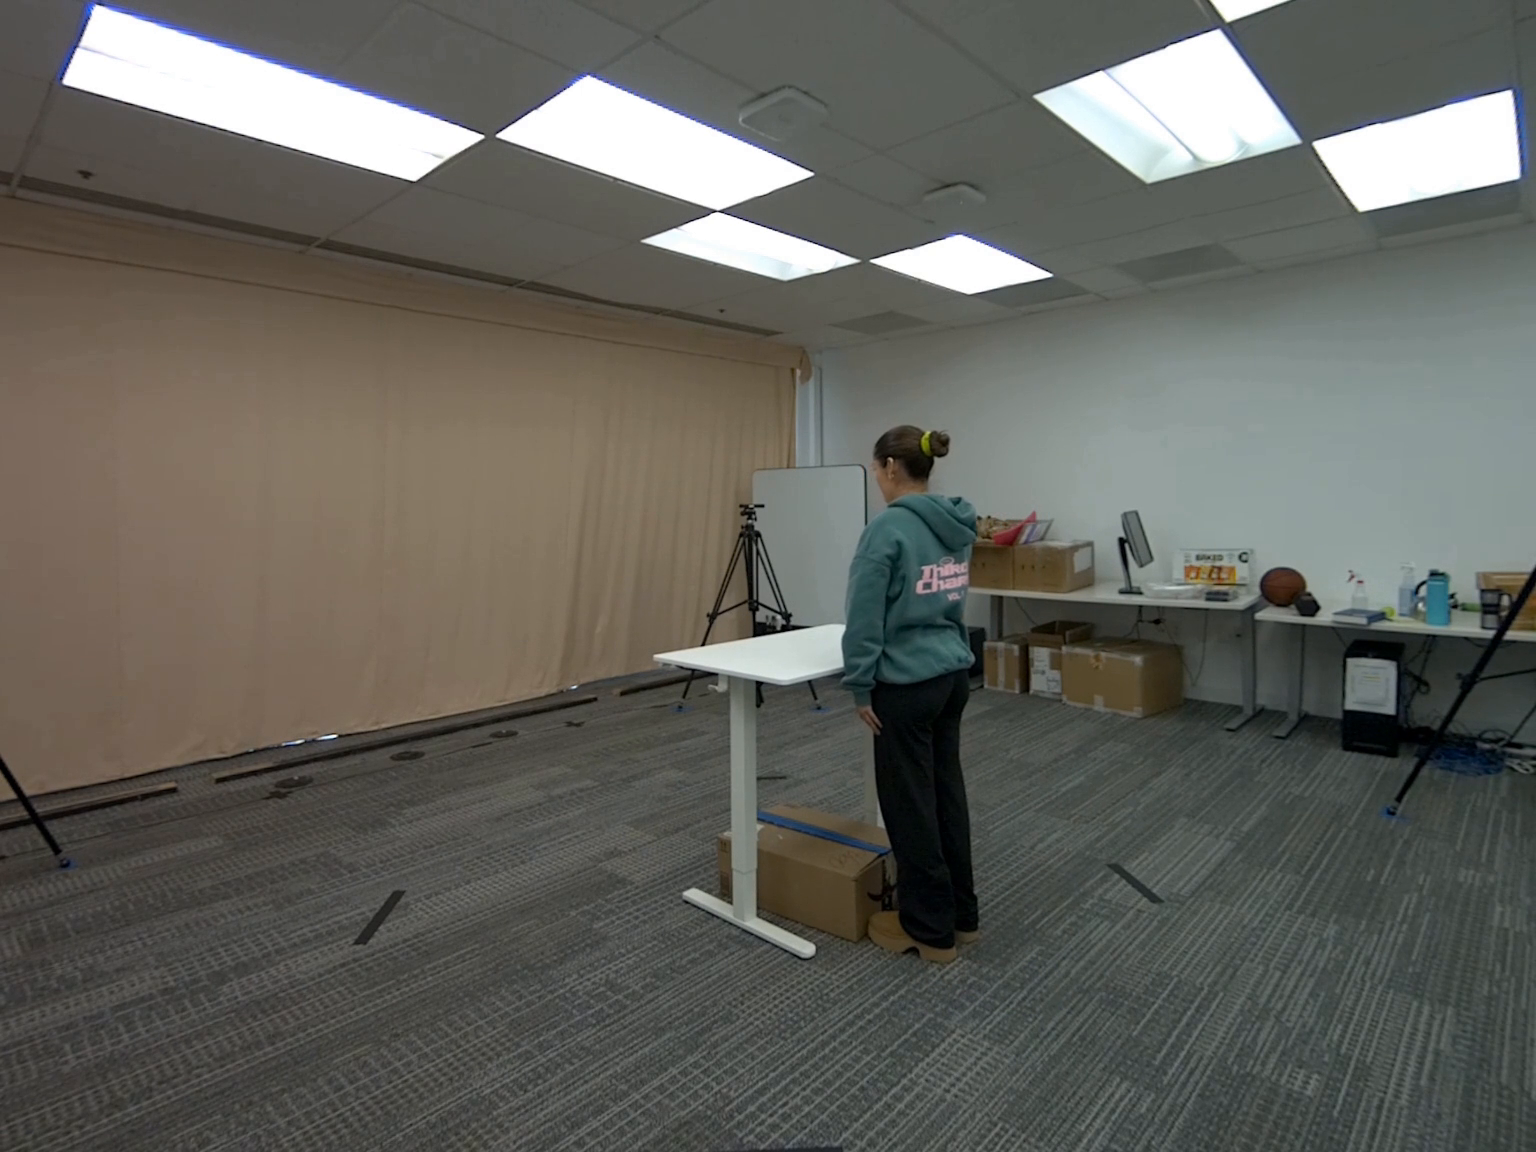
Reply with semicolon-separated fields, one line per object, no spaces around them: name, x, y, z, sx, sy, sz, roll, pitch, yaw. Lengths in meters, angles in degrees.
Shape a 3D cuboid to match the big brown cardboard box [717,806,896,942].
big brown cardboard box;0.171;1.019;2.993;0.608;0.232;0.405;4;7;38
